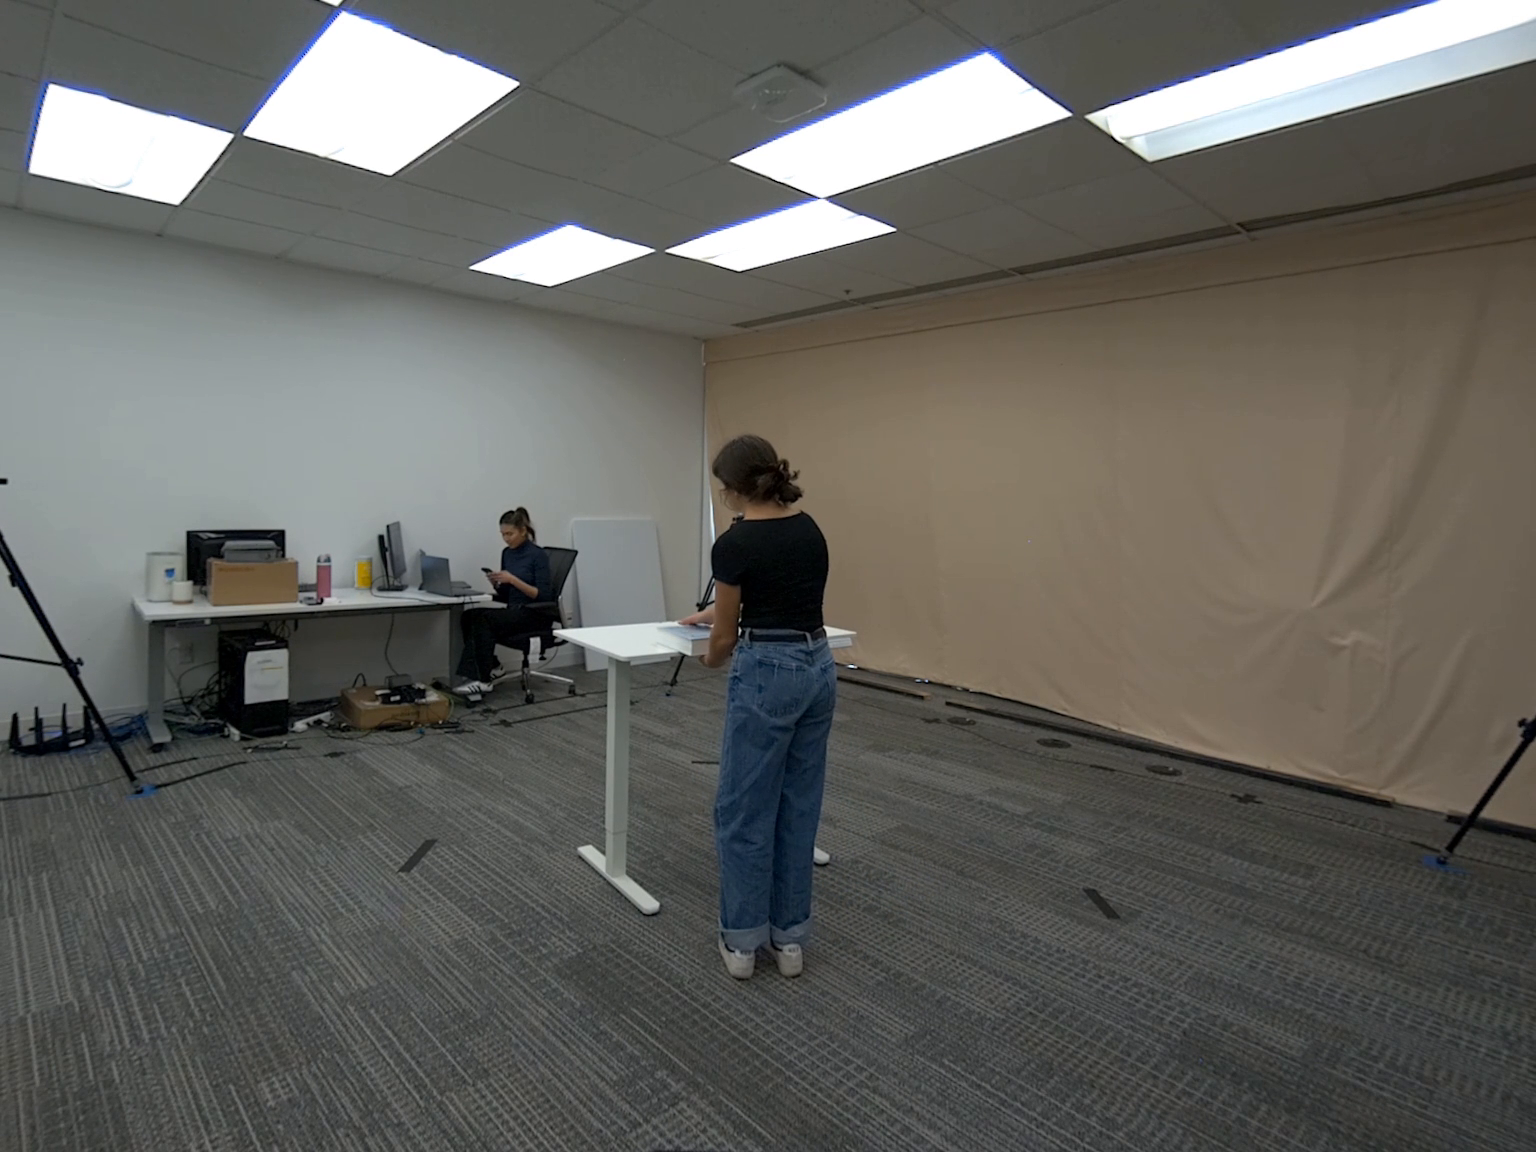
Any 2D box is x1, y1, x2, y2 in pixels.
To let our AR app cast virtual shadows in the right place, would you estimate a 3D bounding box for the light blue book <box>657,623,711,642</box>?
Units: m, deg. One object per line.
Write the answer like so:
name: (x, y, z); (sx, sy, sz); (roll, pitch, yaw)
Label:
light blue book: (-0.246, 0.217, 2.867); (0.187, 0.059, 0.267); (-3, 7, -33)
